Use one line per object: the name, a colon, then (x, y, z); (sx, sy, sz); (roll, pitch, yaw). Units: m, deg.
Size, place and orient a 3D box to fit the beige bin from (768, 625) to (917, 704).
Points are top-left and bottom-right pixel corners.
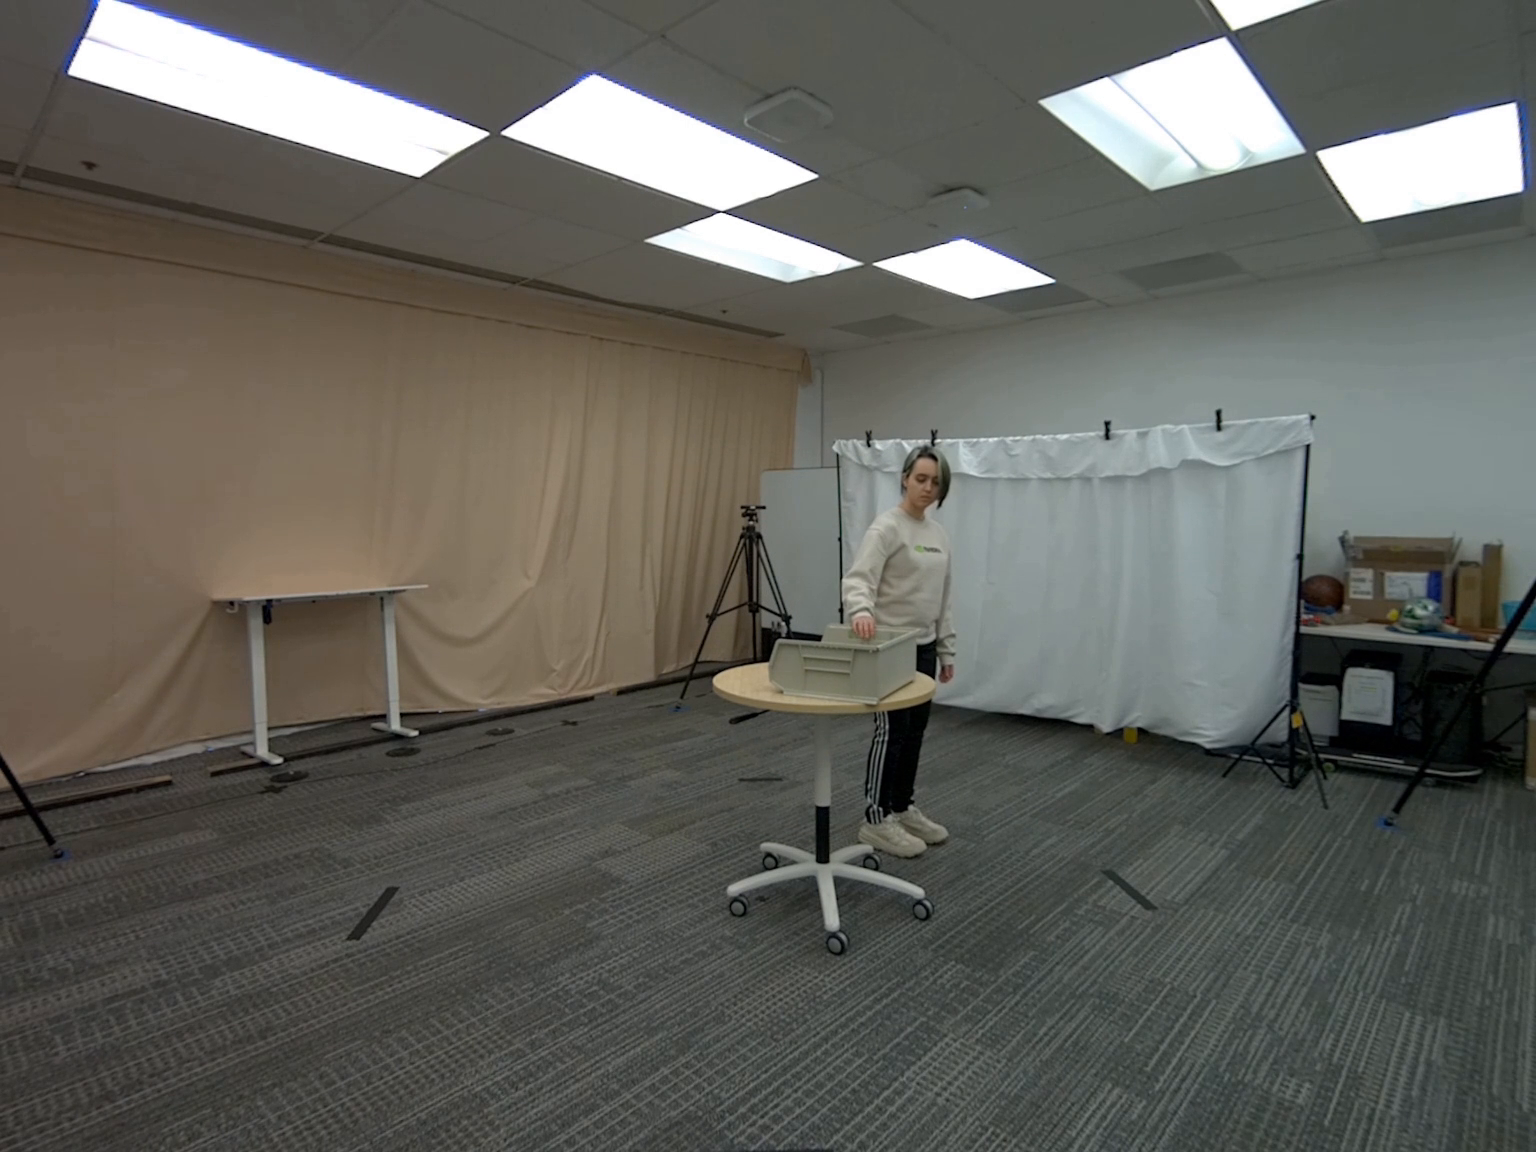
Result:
beige bin: (0.263, 0.284, 2.802); (0.388, 0.188, 0.411); (4, 5, 28)
